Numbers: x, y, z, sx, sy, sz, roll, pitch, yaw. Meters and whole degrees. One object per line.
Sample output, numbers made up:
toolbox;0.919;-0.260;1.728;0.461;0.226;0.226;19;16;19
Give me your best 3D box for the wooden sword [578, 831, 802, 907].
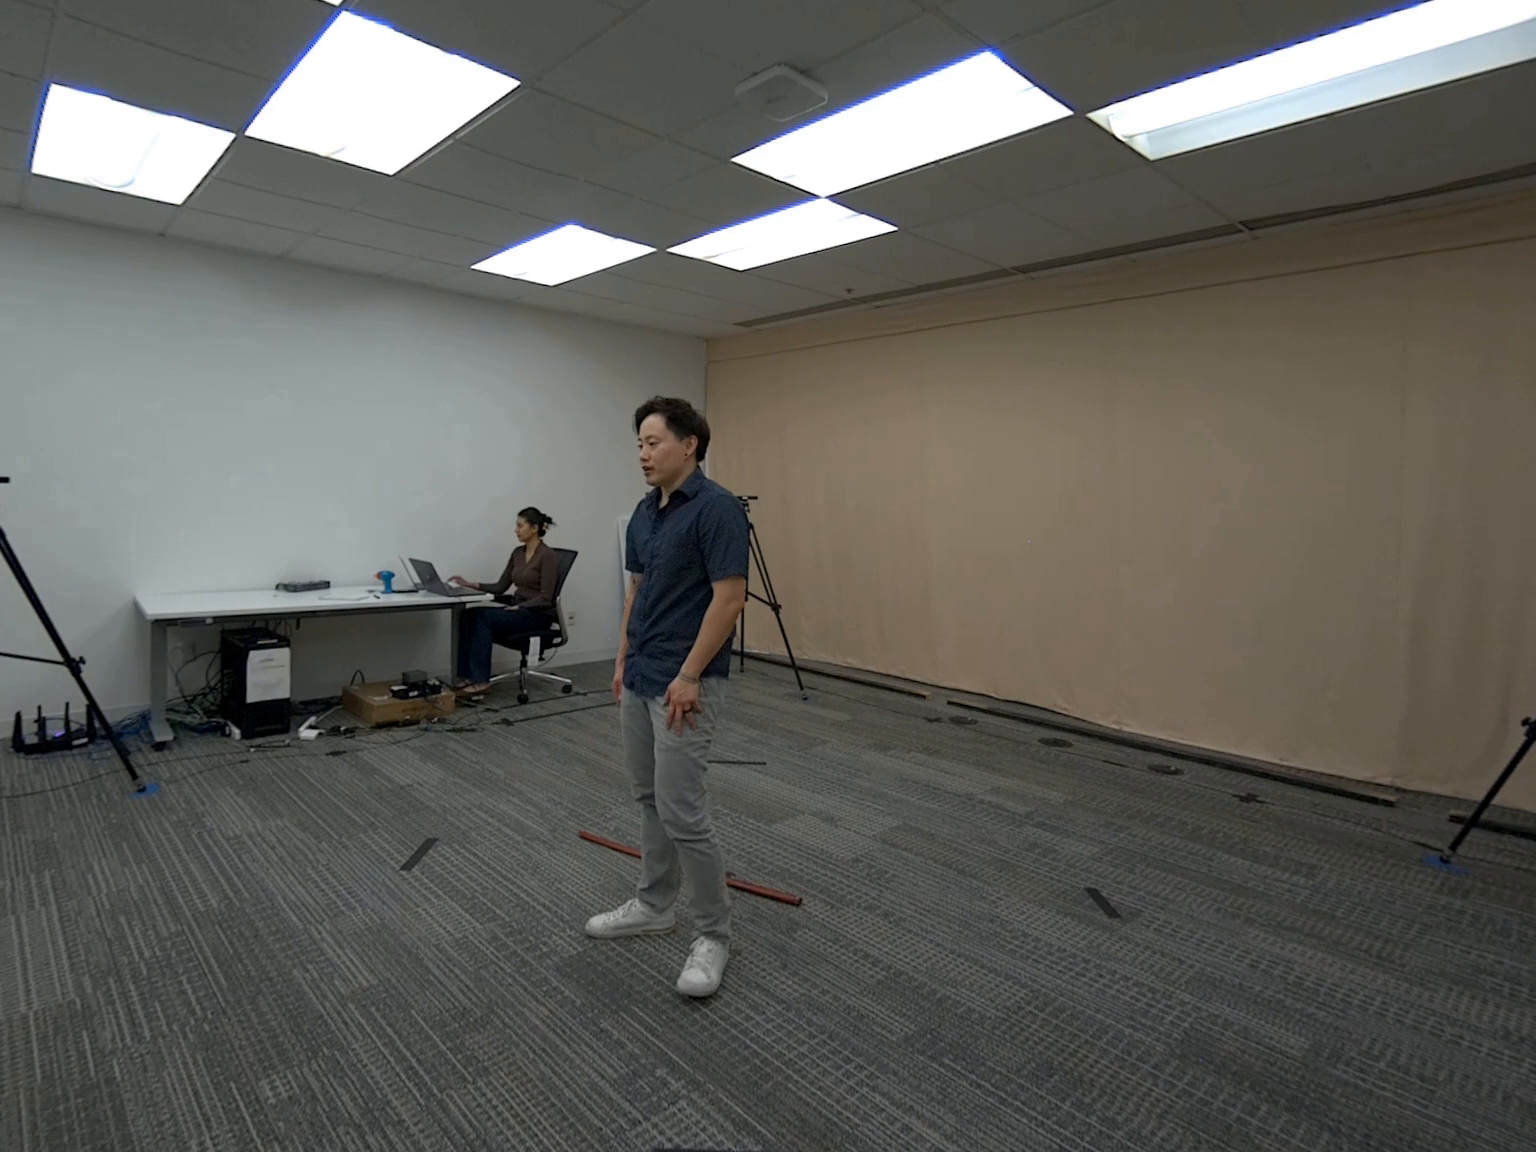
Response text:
wooden sword;-0.331;1.072;3.144;1.048;0.023;0.051;4;27;32
